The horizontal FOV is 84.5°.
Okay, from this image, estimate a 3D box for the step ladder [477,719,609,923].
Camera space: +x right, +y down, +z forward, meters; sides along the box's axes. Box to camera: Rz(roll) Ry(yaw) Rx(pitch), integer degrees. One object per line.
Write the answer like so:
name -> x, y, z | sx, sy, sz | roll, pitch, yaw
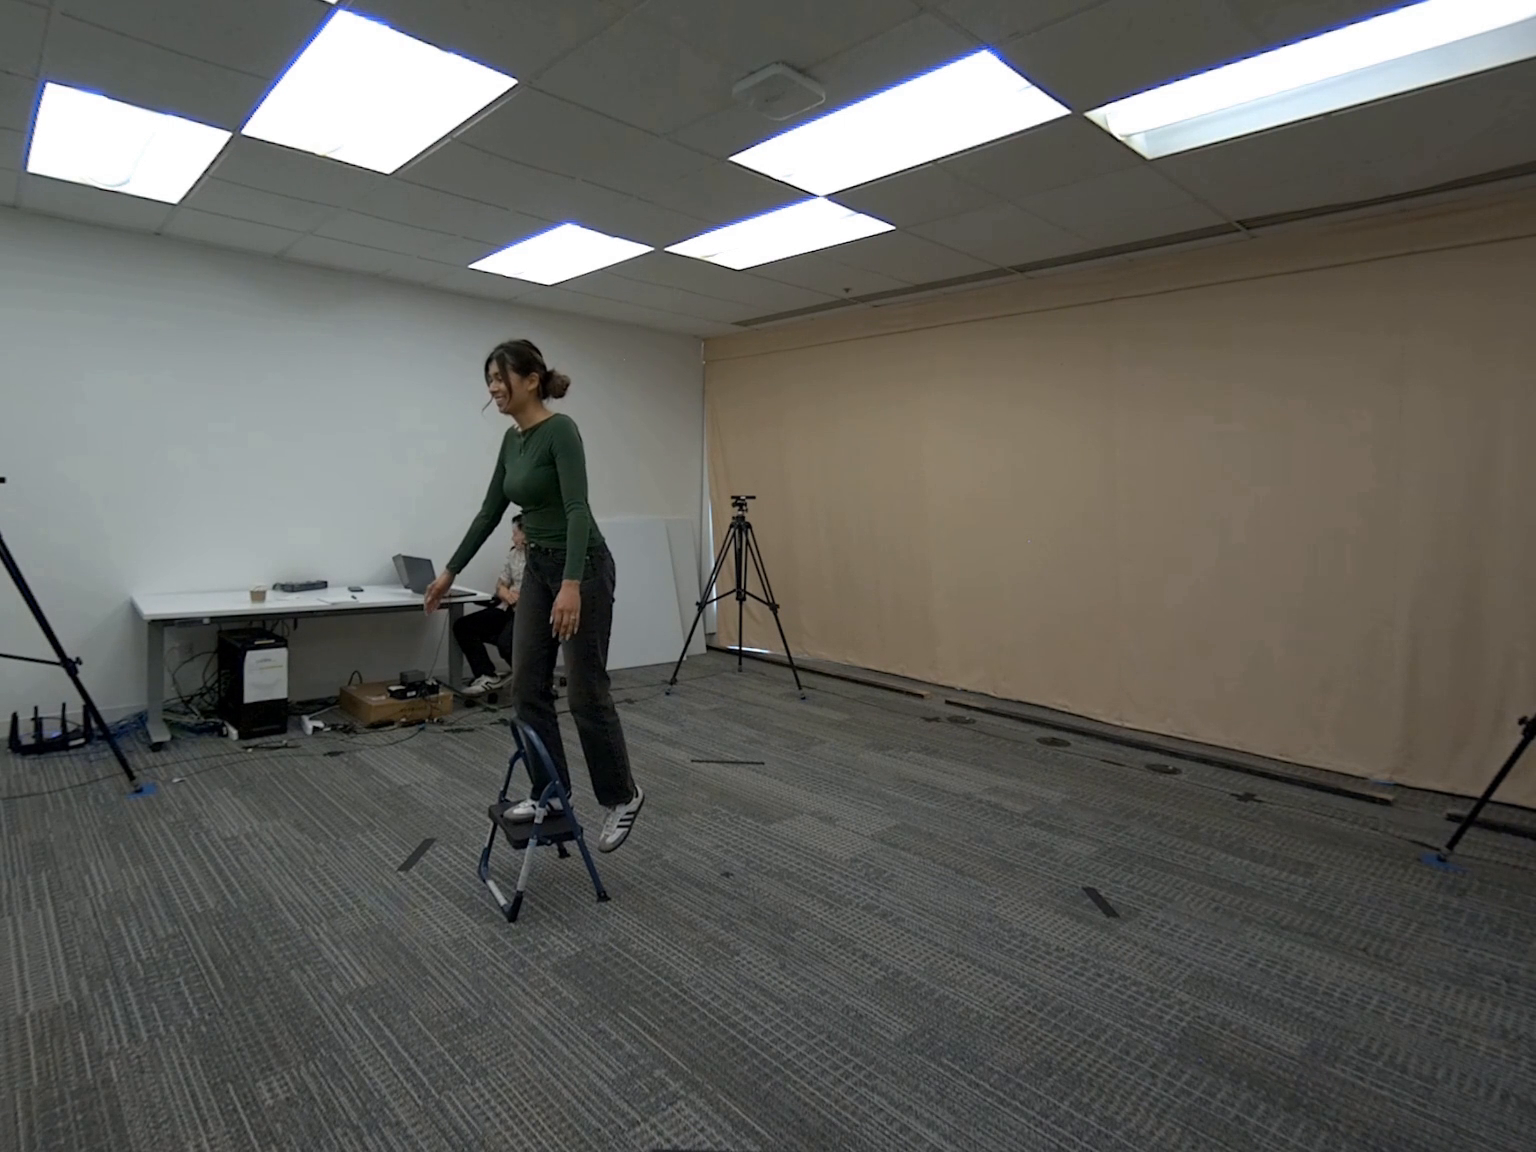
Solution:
step ladder -> -0.802, 0.800, 2.959 | 0.342, 0.604, 0.441 | -1, 4, -33
